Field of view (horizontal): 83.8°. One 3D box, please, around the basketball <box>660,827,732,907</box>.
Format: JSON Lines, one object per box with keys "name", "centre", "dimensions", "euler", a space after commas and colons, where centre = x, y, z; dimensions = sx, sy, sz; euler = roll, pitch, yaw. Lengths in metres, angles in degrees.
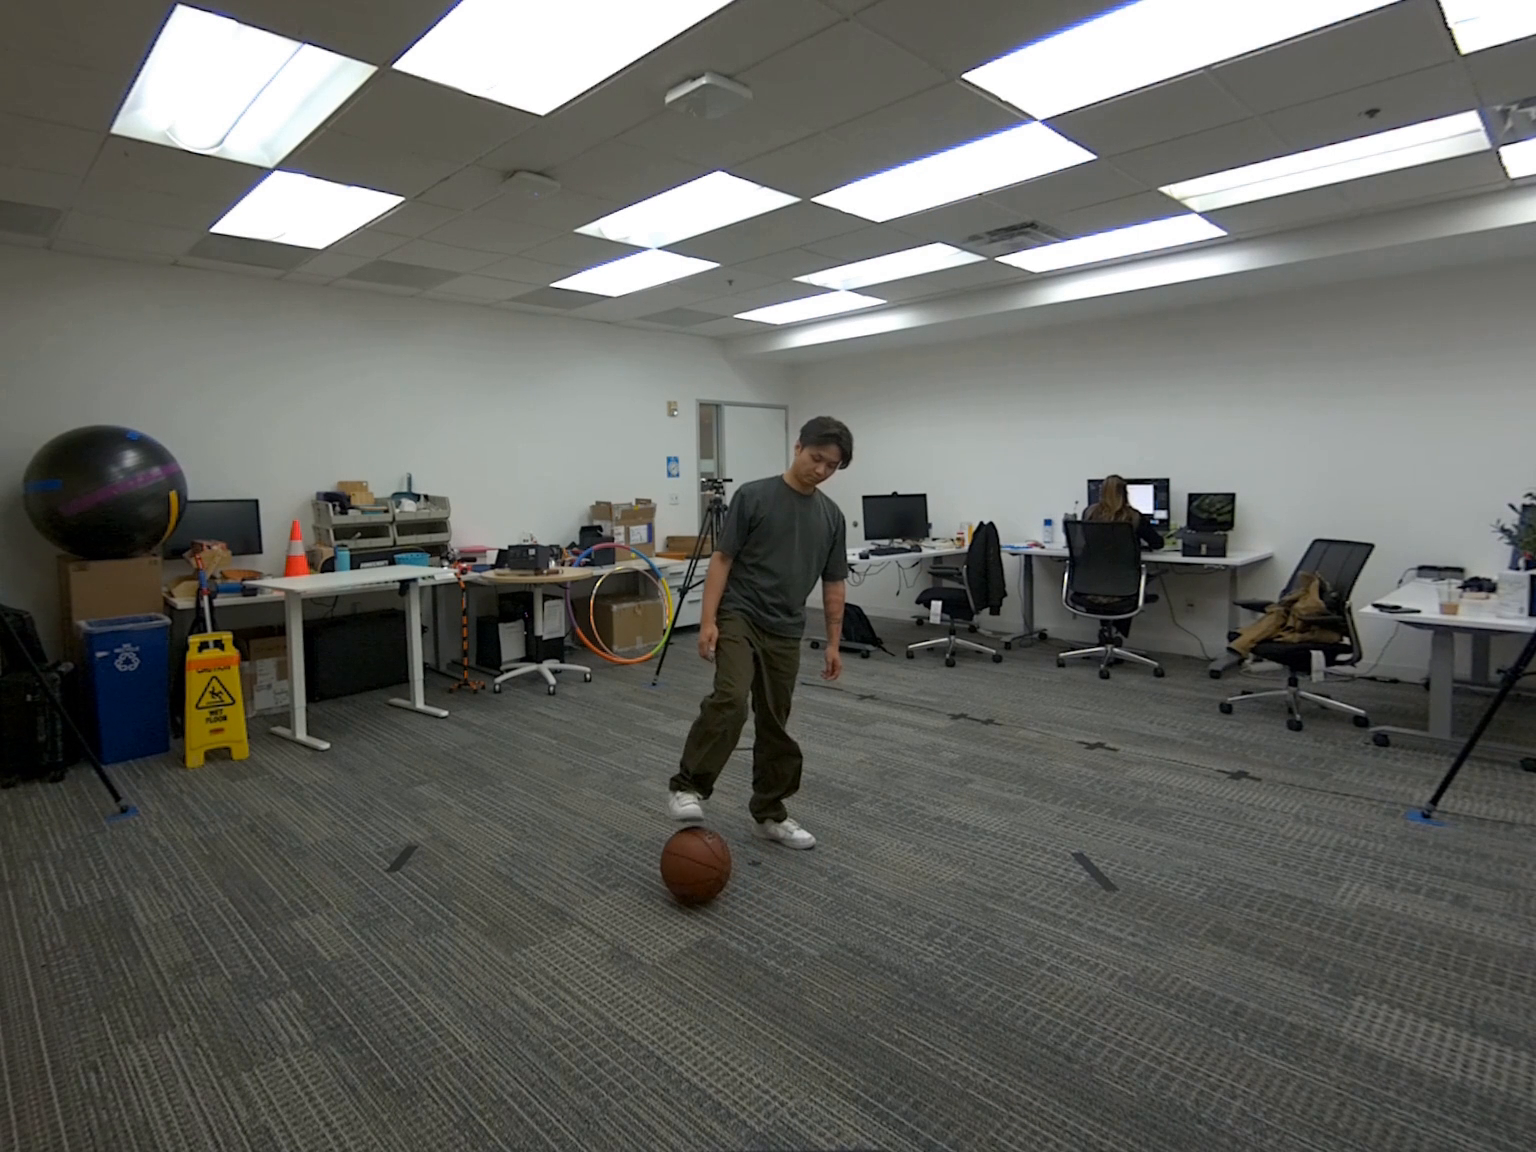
{"name": "basketball", "centre": [-0.233, 0.960, 2.851], "dimensions": [0.236, 0.235, 0.237], "euler": [-1, 5, -2]}
